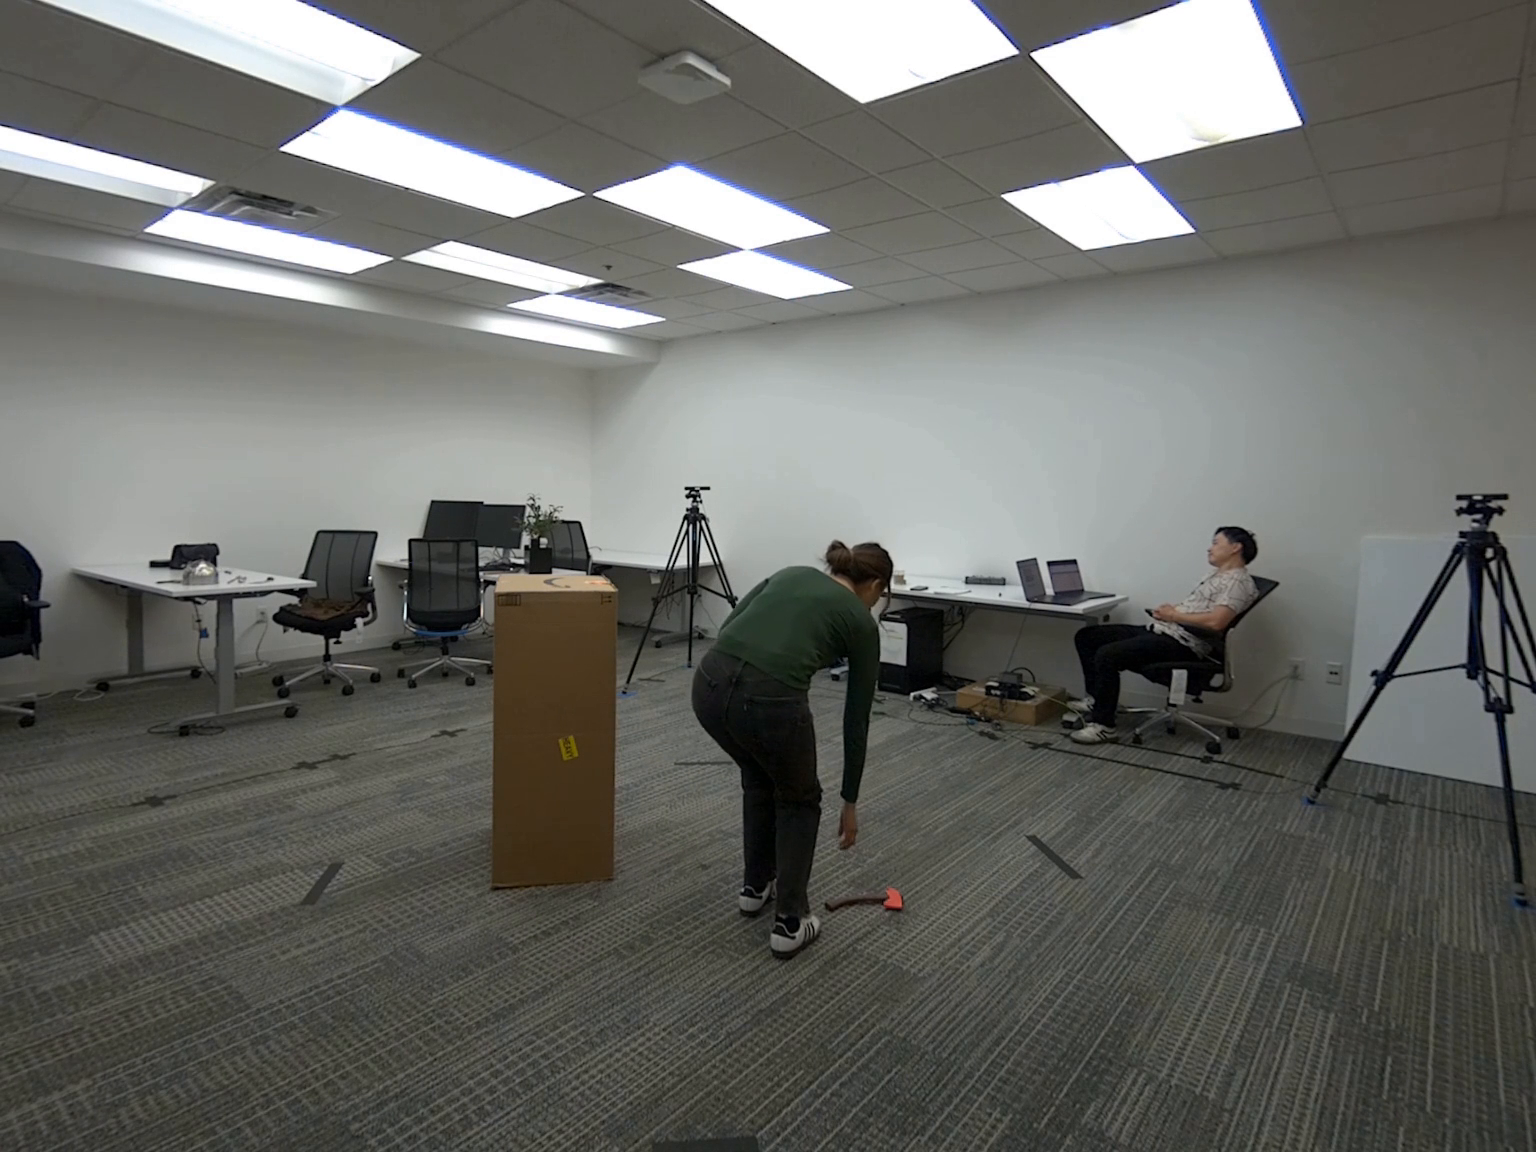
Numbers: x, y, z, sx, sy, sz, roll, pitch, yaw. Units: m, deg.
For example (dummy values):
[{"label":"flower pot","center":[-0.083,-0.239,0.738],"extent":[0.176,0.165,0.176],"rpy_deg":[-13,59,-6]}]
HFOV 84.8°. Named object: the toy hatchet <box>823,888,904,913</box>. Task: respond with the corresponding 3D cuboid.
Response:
[{"label":"toy hatchet","center":[0.329,1.098,2.832],"extent":[0.264,0.029,0.135],"rpy_deg":[-4,8,-26]}]
